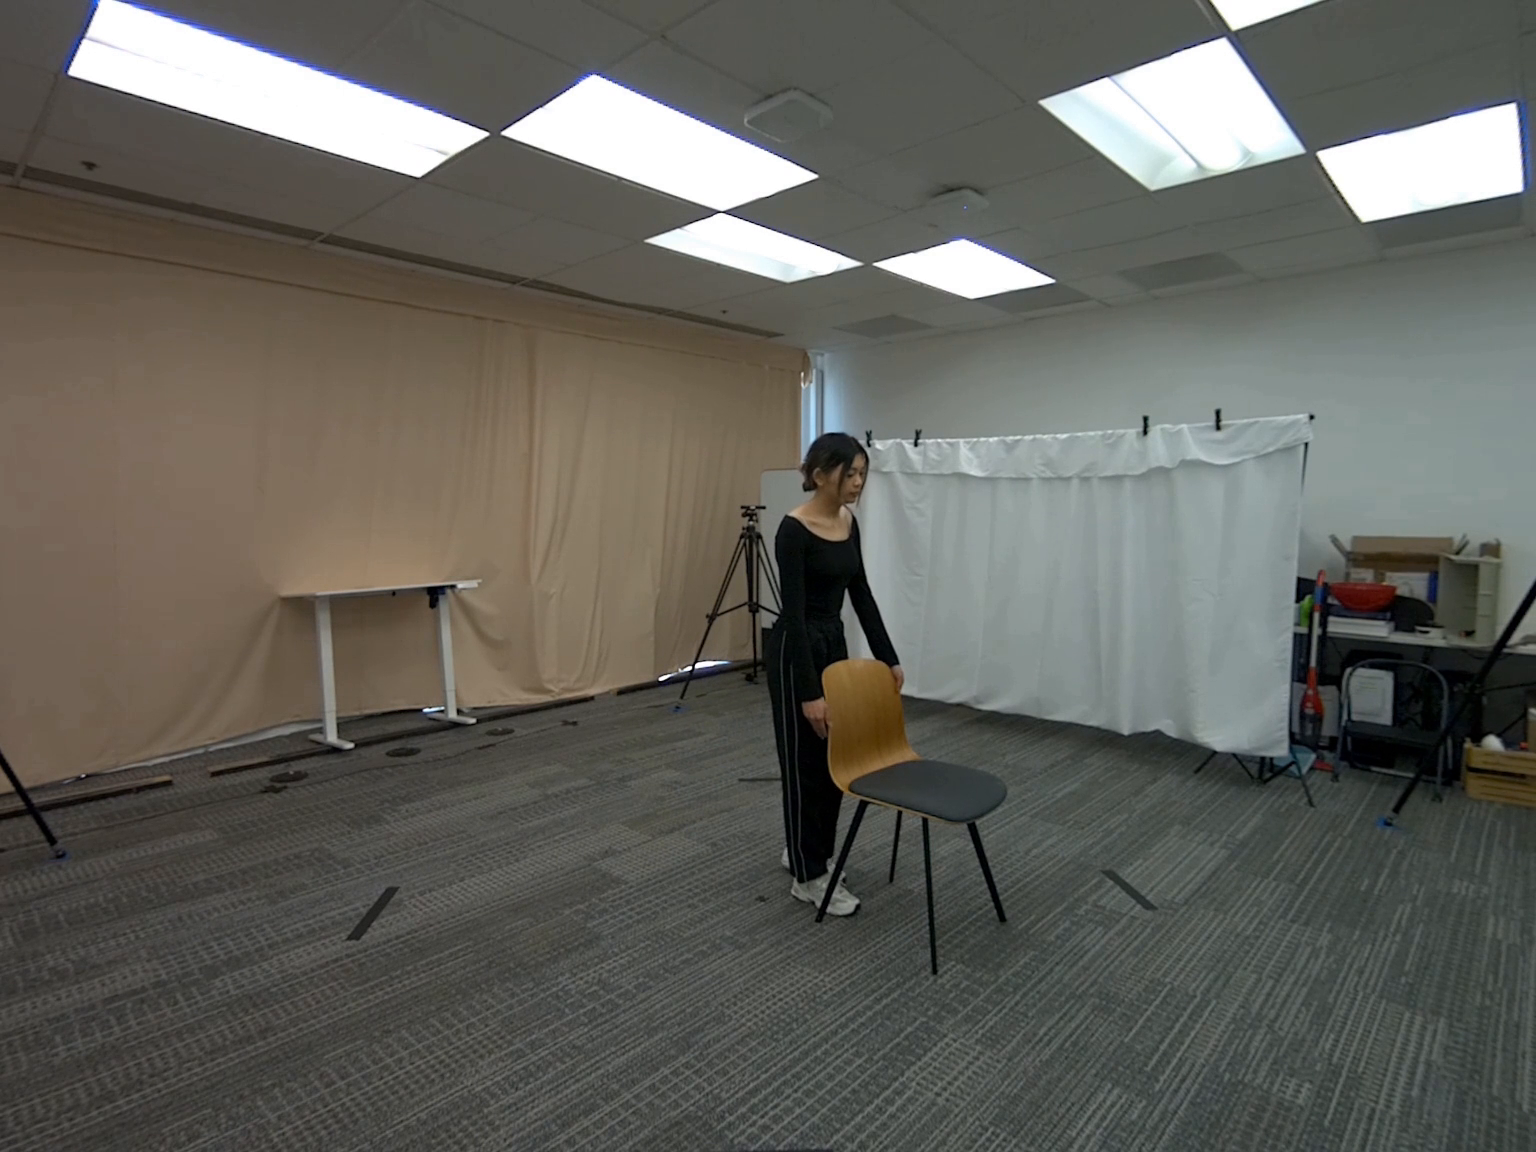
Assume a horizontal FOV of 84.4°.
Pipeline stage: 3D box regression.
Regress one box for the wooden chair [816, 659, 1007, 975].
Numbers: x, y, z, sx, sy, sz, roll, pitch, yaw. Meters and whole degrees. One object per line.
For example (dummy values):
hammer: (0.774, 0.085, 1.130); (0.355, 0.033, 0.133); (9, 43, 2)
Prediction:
wooden chair: (0.488, 0.731, 2.776); (0.539, 0.878, 0.463); (-4, 0, 44)
